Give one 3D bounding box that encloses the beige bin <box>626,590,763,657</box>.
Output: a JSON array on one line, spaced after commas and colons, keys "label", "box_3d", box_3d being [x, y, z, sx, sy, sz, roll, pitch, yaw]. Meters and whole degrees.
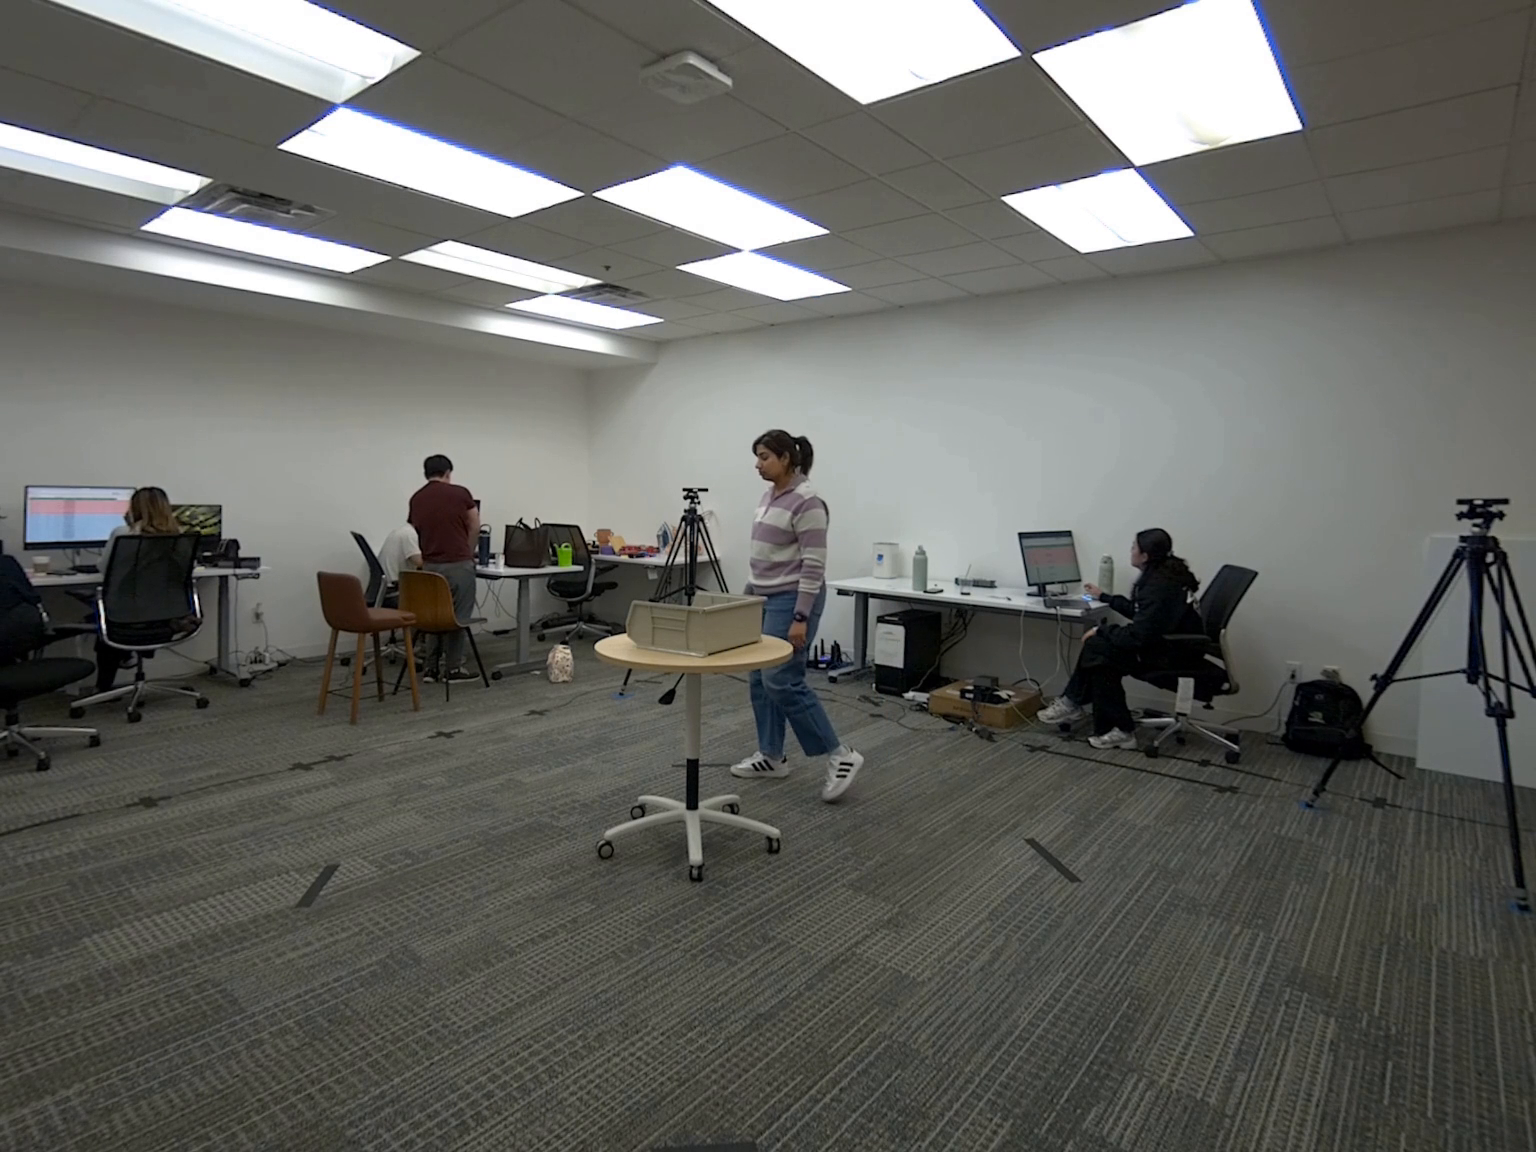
[{"label": "beige bin", "box_3d": [-0.286, 0.177, 3.312, 0.389, 0.188, 0.411, 6, 7, 32]}]
